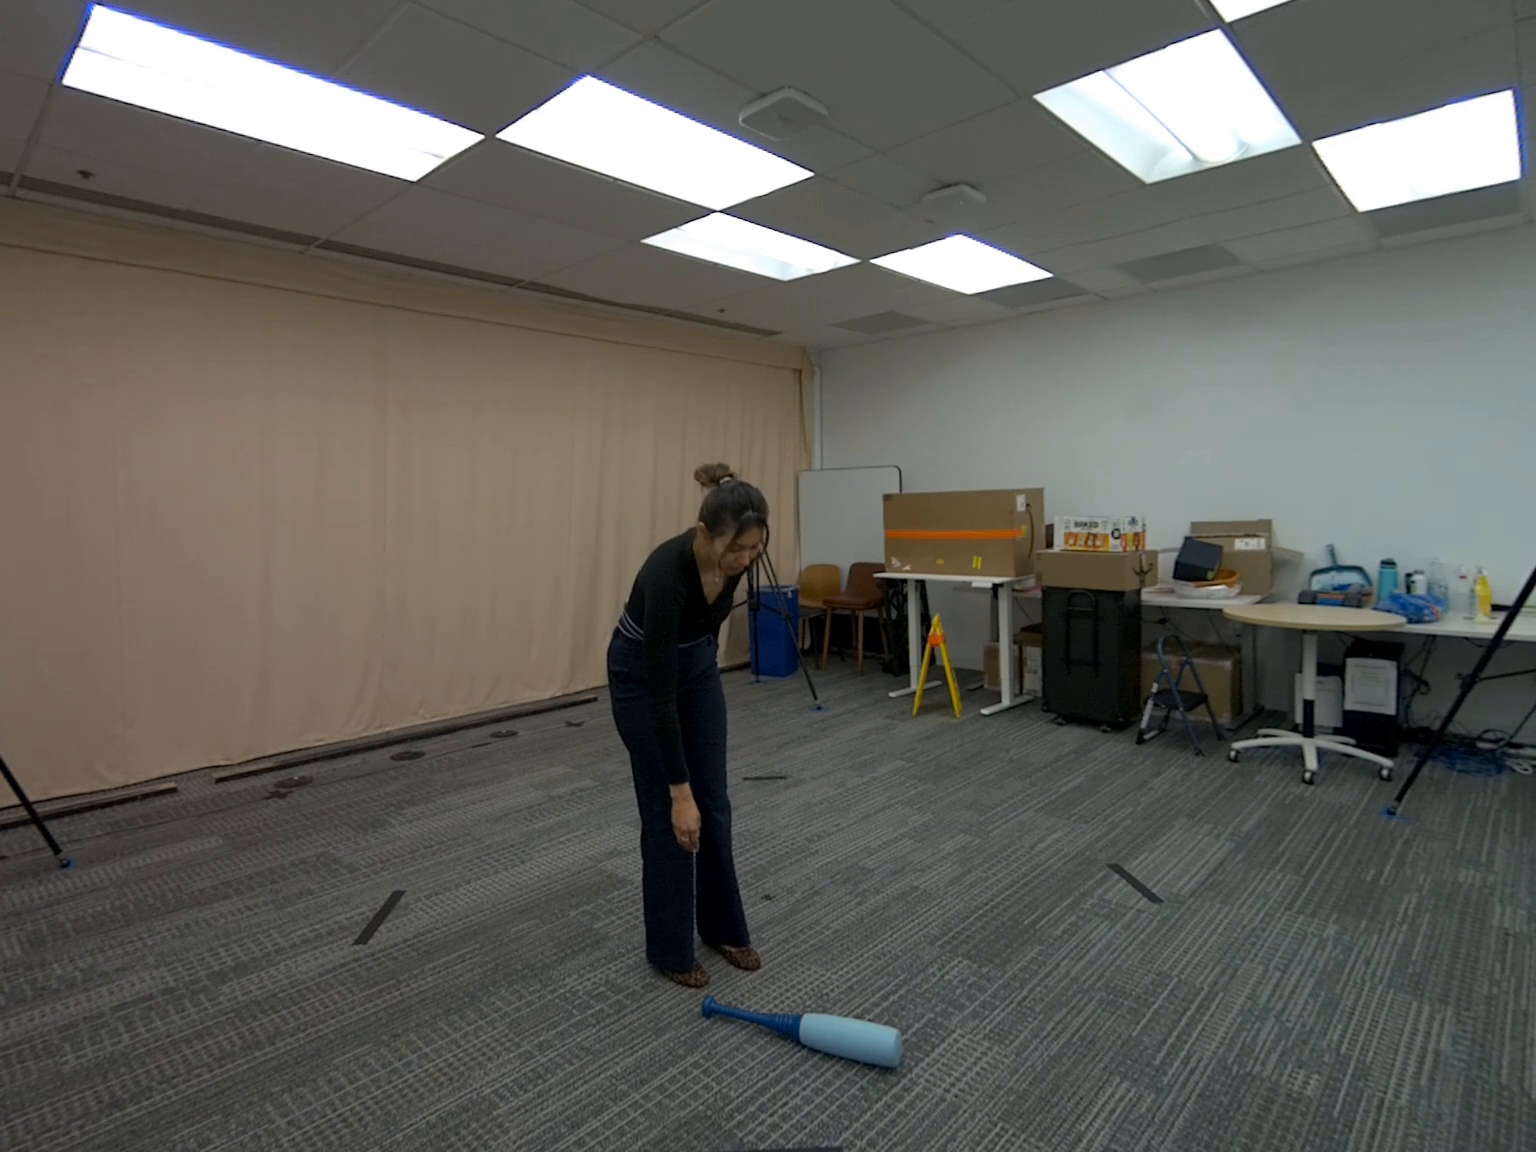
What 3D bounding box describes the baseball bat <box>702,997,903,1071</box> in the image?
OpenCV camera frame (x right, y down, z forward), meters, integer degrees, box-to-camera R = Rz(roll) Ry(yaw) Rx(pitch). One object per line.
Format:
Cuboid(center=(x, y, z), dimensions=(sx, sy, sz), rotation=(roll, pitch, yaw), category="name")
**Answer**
Cuboid(center=(0.078, 1.171, 2.177), dimensions=(0.556, 0.089, 0.087), rotation=(-1, 3, 25), category="baseball bat")
